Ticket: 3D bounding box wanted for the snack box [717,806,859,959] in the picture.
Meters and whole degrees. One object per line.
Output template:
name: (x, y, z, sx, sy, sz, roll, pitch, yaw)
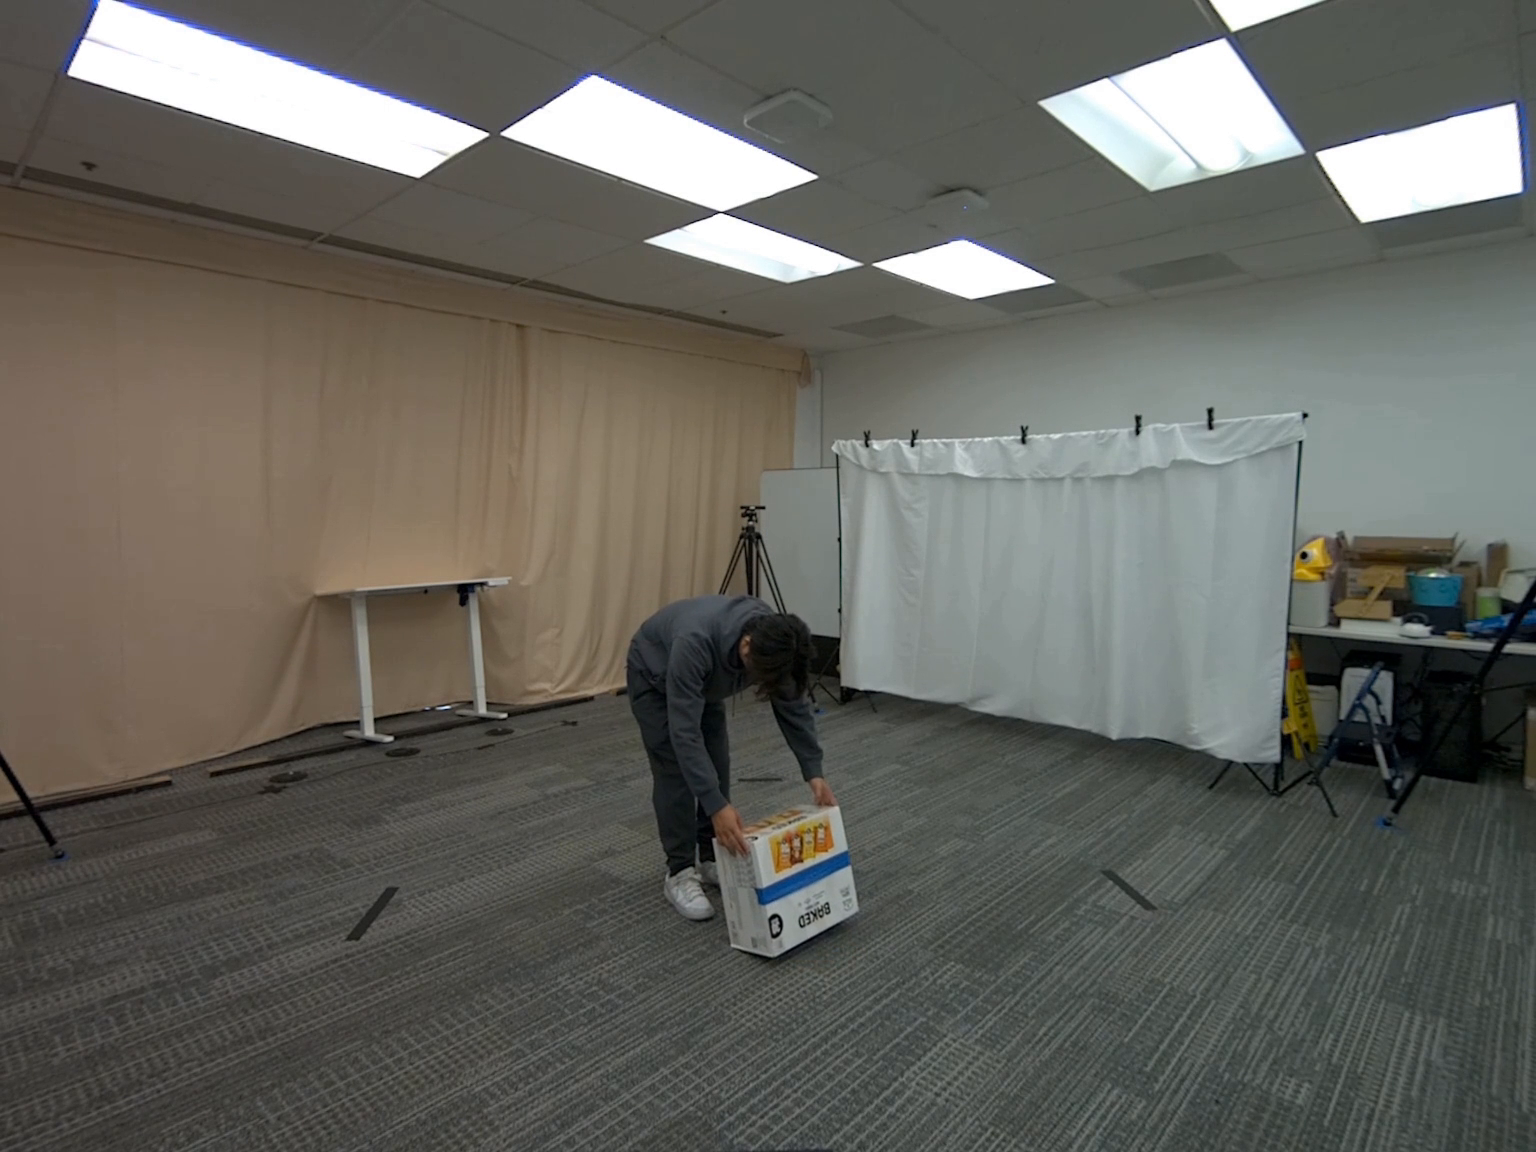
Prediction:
snack box: (0.066, 0.976, 2.739, 0.393, 0.342, 0.211, -6, -7, -42)
